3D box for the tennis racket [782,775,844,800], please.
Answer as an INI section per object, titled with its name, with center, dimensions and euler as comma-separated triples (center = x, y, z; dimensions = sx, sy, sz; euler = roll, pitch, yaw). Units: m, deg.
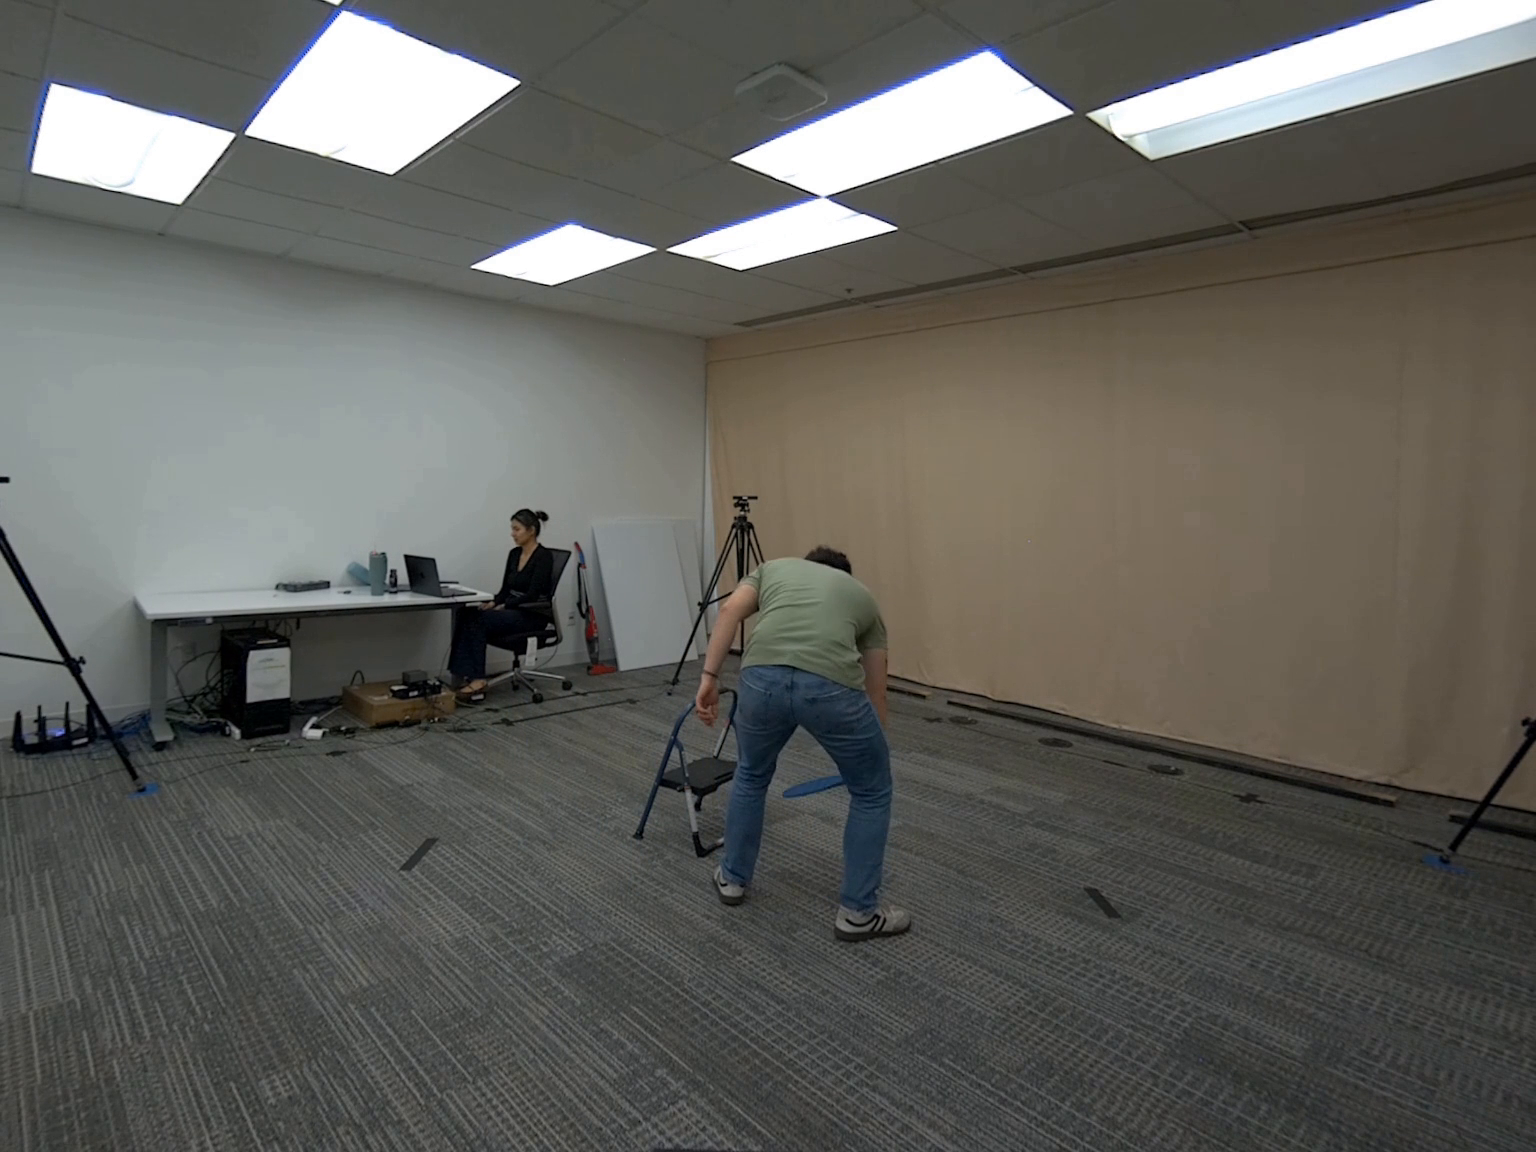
[tennis racket]
center = 0.208, 0.778, 3.116
dimensions = 0.439, 0.032, 0.210
euler = -19, -4, 34
